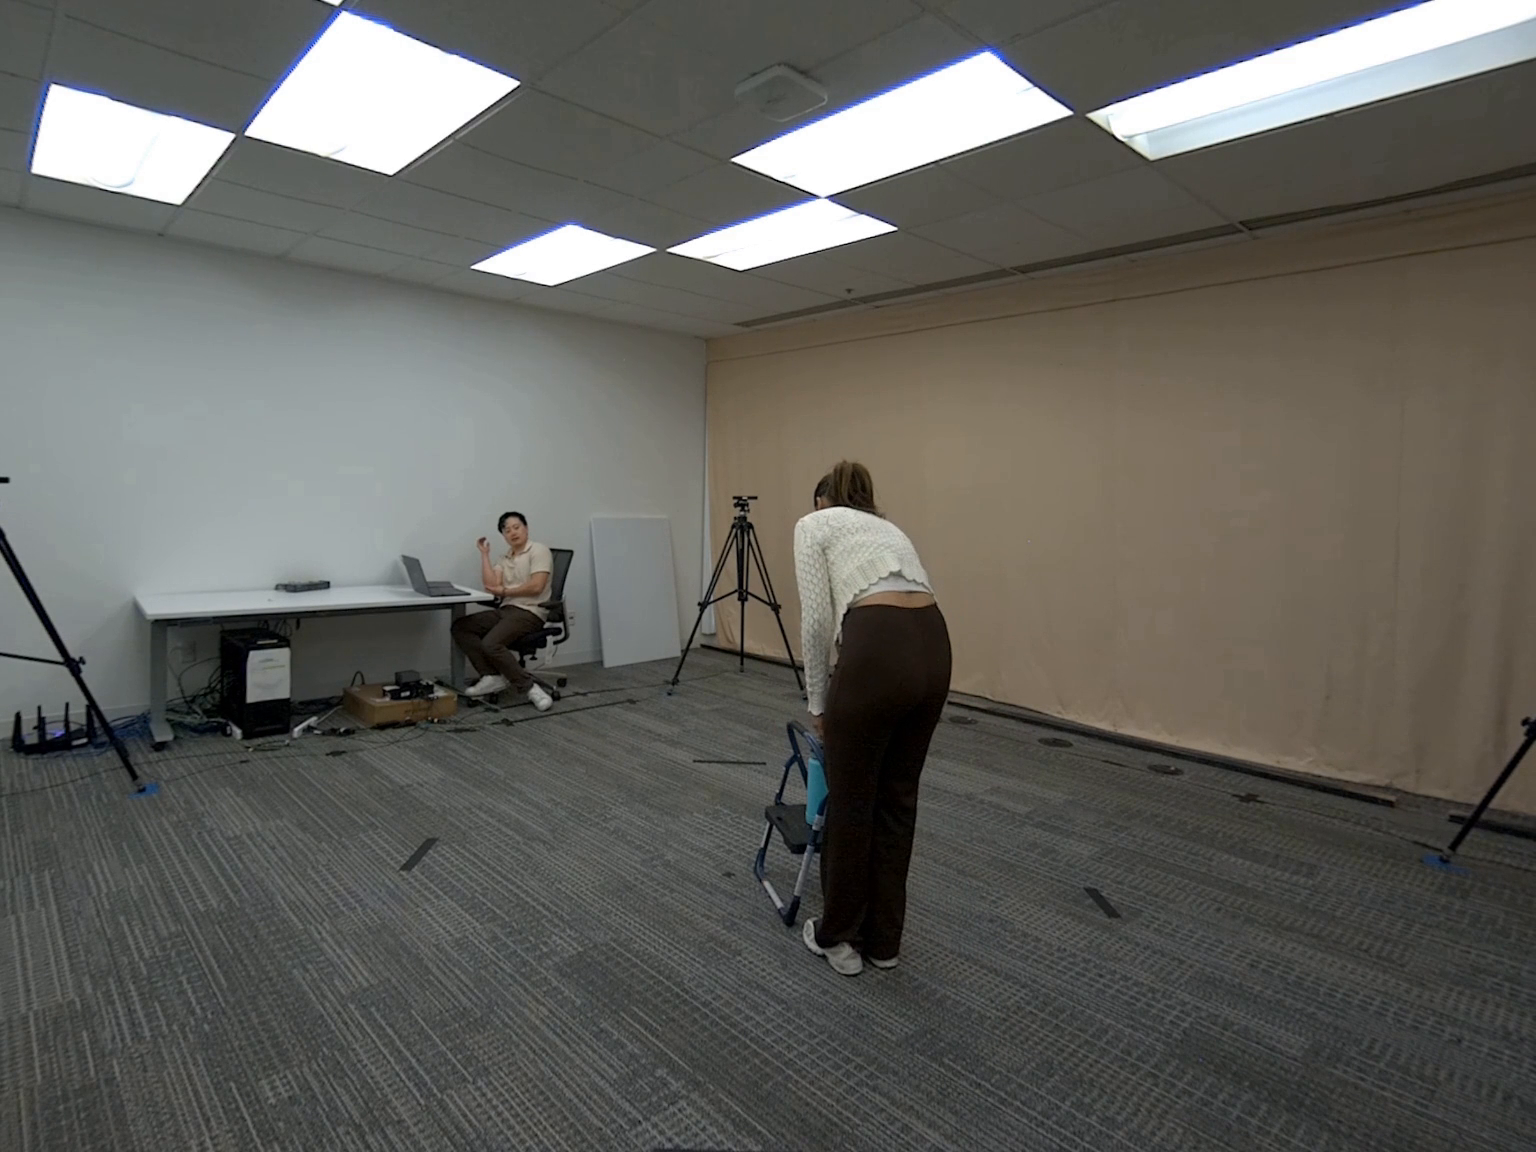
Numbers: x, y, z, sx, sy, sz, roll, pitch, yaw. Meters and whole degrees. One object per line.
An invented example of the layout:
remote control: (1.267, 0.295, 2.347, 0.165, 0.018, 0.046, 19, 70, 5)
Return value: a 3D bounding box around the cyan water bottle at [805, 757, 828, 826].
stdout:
cyan water bottle: (0.185, 0.726, 2.937, 0.092, 0.283, 0.092, 4, 3, -2)
